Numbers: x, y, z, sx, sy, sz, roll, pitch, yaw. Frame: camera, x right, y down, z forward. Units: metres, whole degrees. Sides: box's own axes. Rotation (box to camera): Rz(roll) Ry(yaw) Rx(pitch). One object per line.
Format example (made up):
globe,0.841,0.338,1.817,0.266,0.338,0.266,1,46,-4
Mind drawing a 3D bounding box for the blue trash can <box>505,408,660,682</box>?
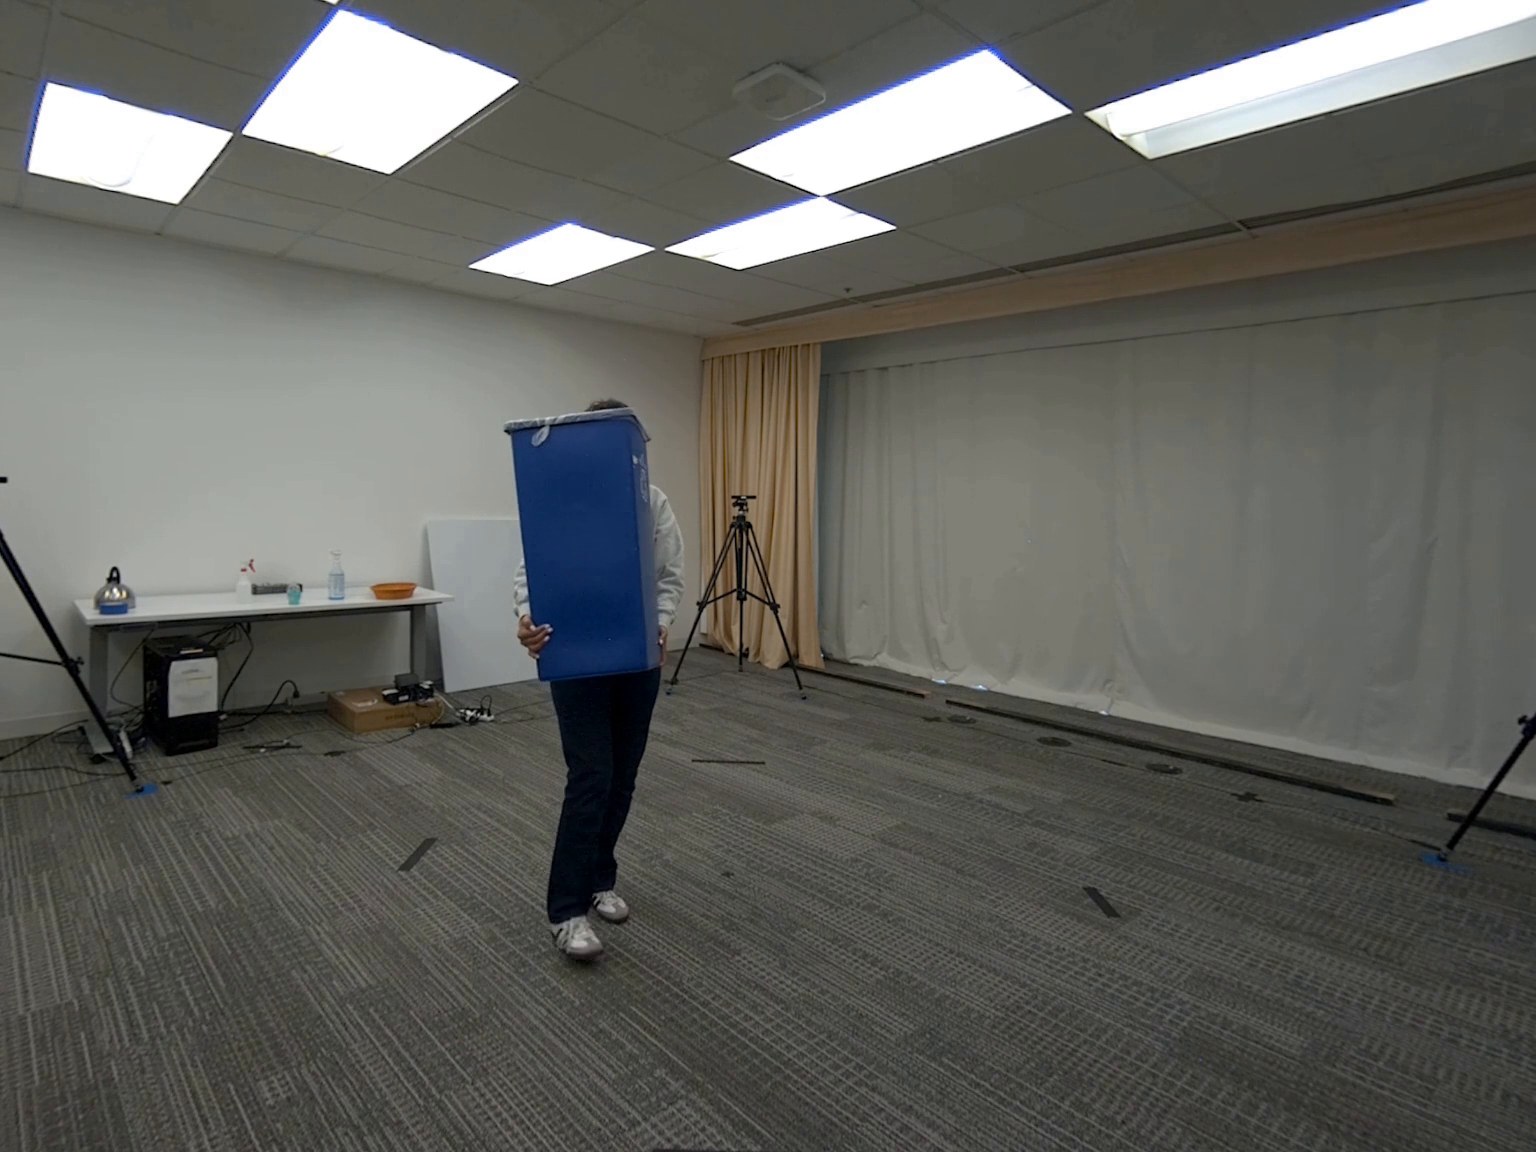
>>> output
blue trash can,-0.523,-0.084,2.432,0.378,0.716,0.372,-6,-4,1
